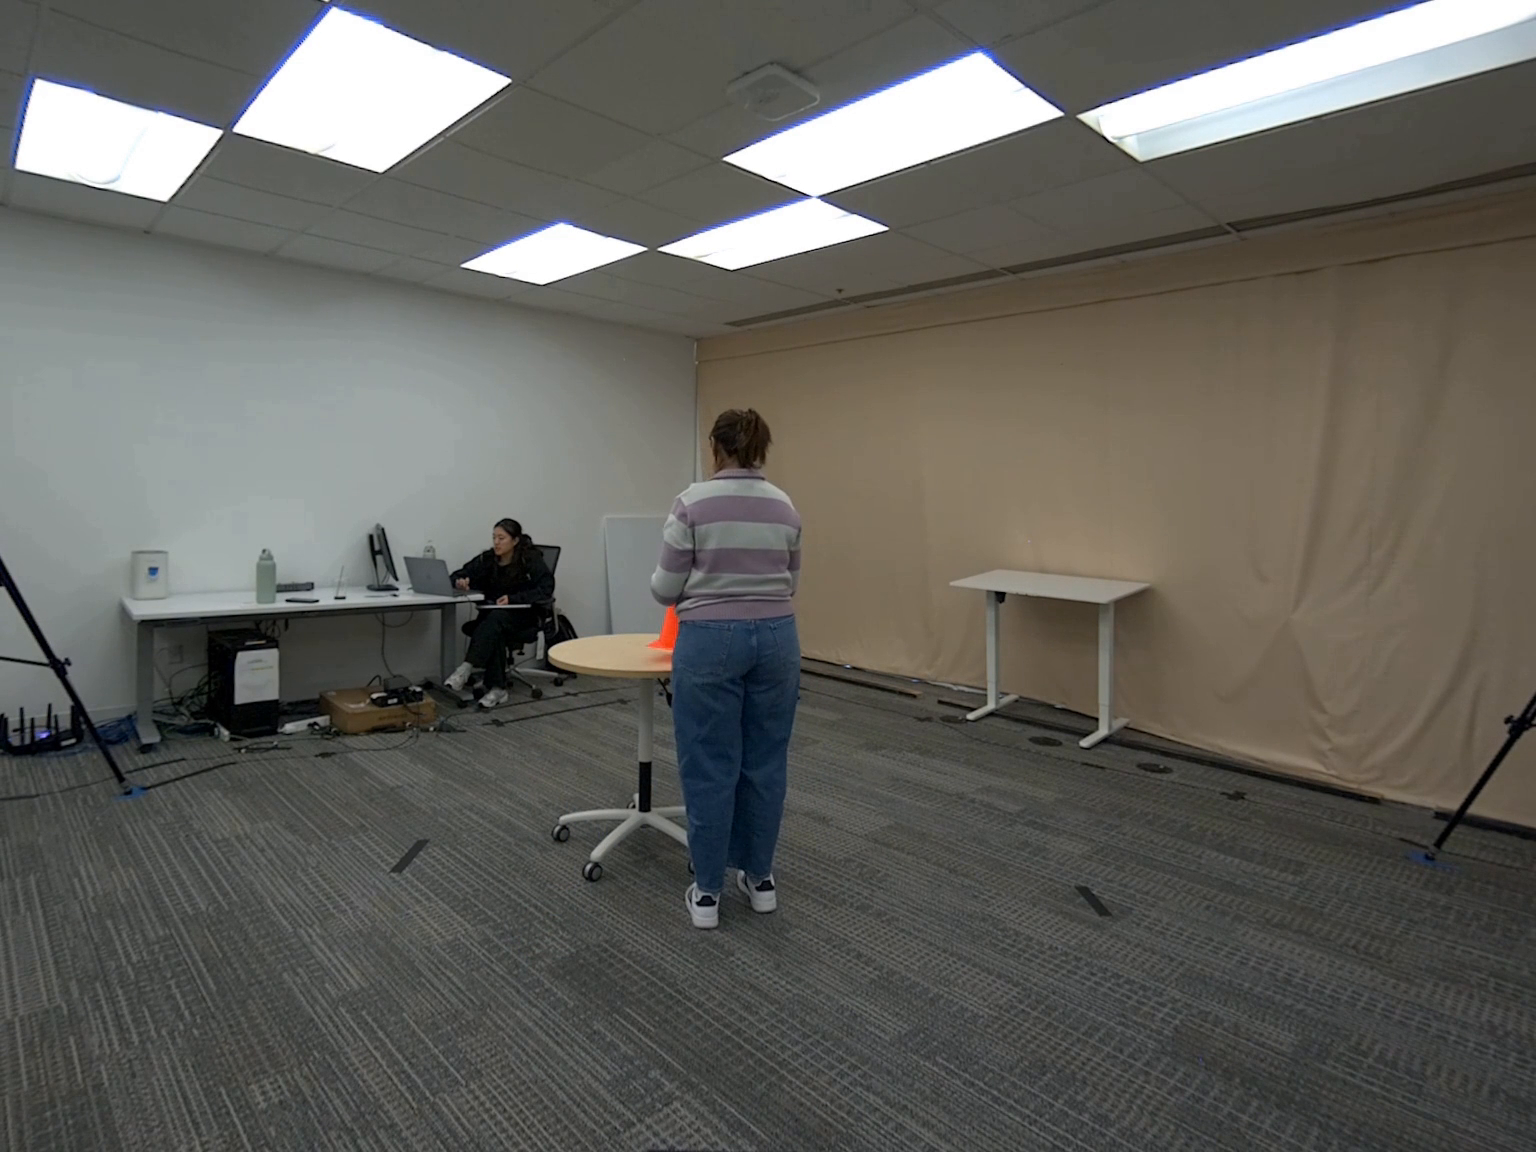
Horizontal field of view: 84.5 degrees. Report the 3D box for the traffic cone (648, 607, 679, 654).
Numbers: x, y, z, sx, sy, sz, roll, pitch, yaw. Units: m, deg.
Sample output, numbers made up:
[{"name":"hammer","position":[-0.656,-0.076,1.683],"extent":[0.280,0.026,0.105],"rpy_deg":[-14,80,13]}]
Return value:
[{"name":"traffic cone","position":[-0.318,0.076,3.128],"extent":[0.206,0.382,0.203],"rpy_deg":[6,7,17]}]
